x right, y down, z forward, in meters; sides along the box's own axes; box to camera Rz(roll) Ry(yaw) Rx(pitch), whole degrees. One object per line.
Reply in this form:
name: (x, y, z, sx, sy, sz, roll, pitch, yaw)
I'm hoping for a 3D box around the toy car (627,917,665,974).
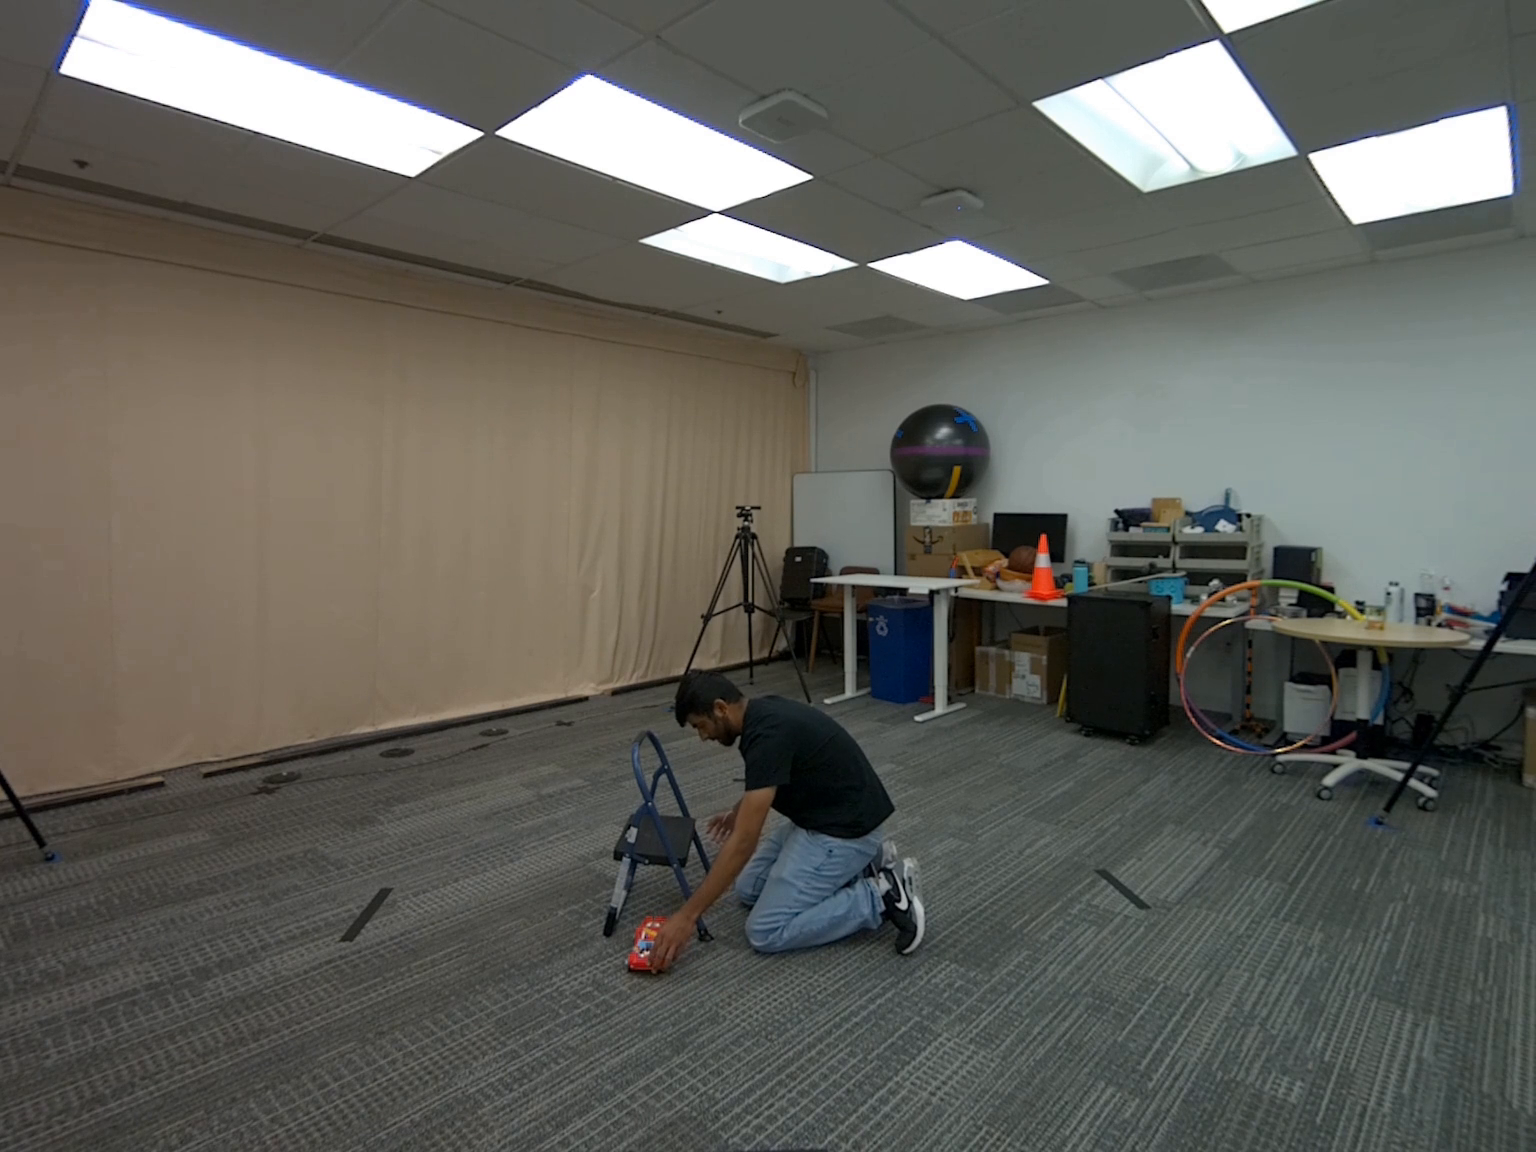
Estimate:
toy car: (-0.366, 1.163, 2.609, 0.131, 0.082, 0.255, 5, 20, 6)
